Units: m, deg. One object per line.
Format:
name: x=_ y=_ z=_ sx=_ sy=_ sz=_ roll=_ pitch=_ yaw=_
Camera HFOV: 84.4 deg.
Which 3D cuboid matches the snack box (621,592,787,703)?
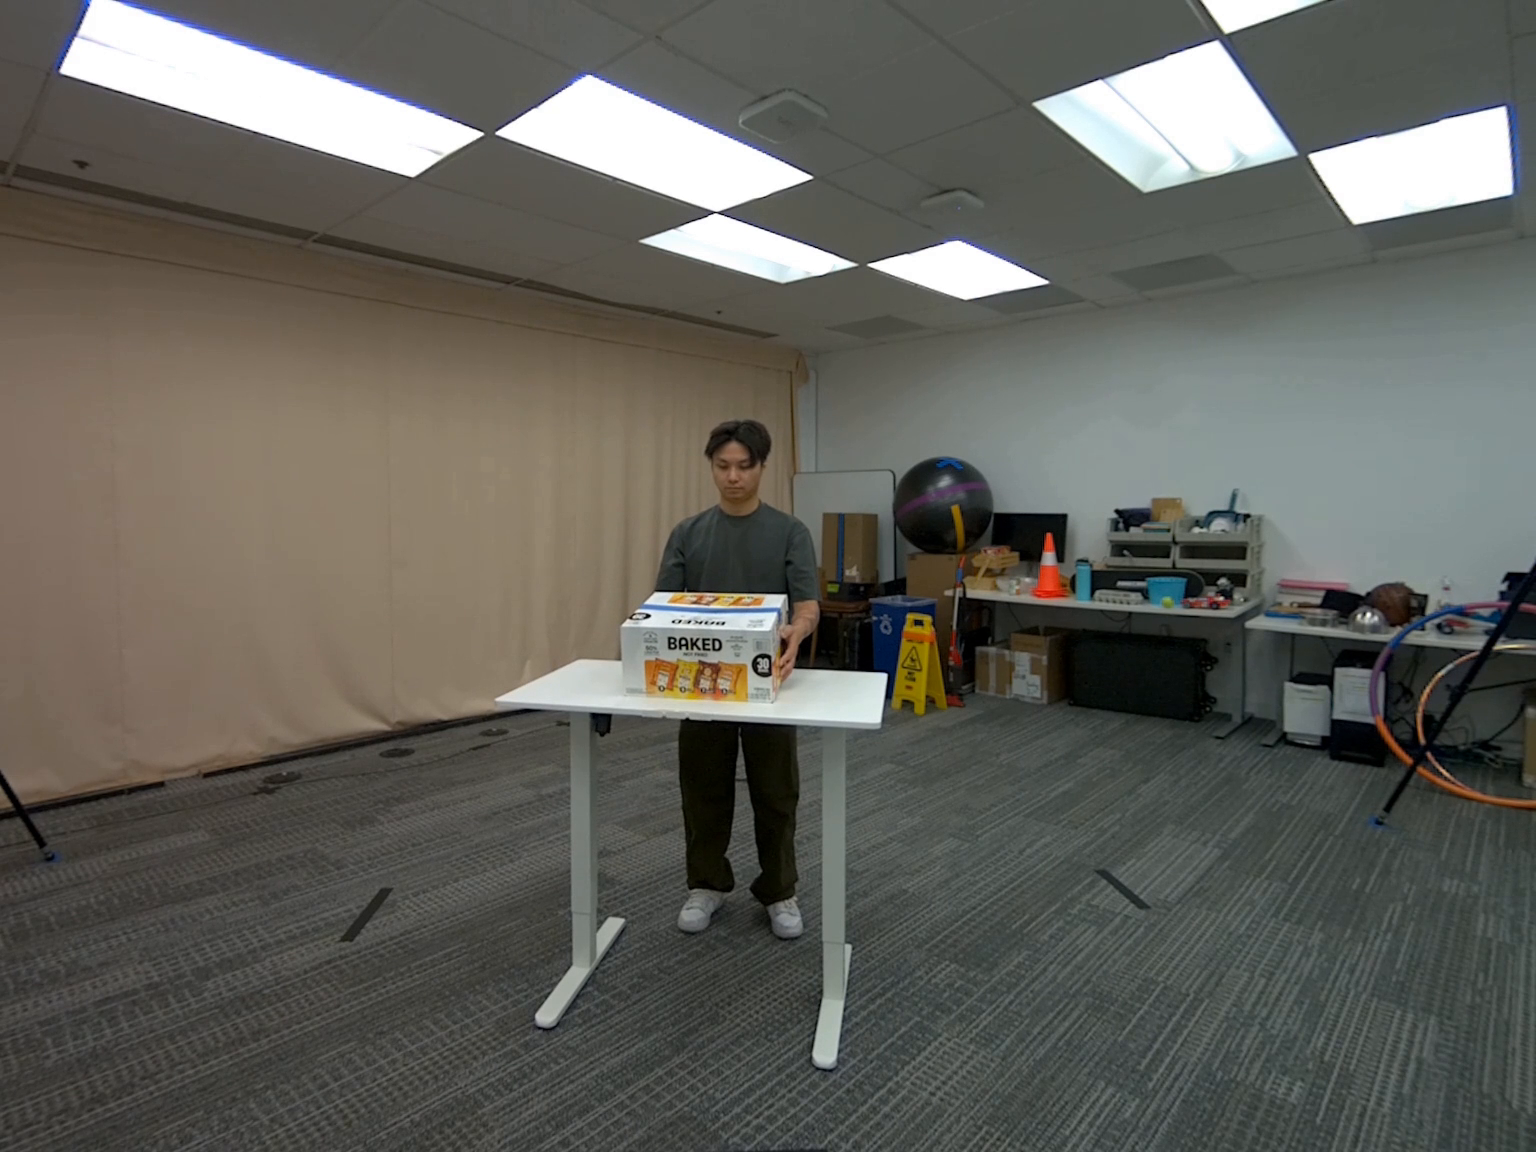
snack box: x=-0.164 y=0.190 z=2.365 sx=0.410 sy=0.204 sz=0.339 roll=0 pitch=13 yaw=11
